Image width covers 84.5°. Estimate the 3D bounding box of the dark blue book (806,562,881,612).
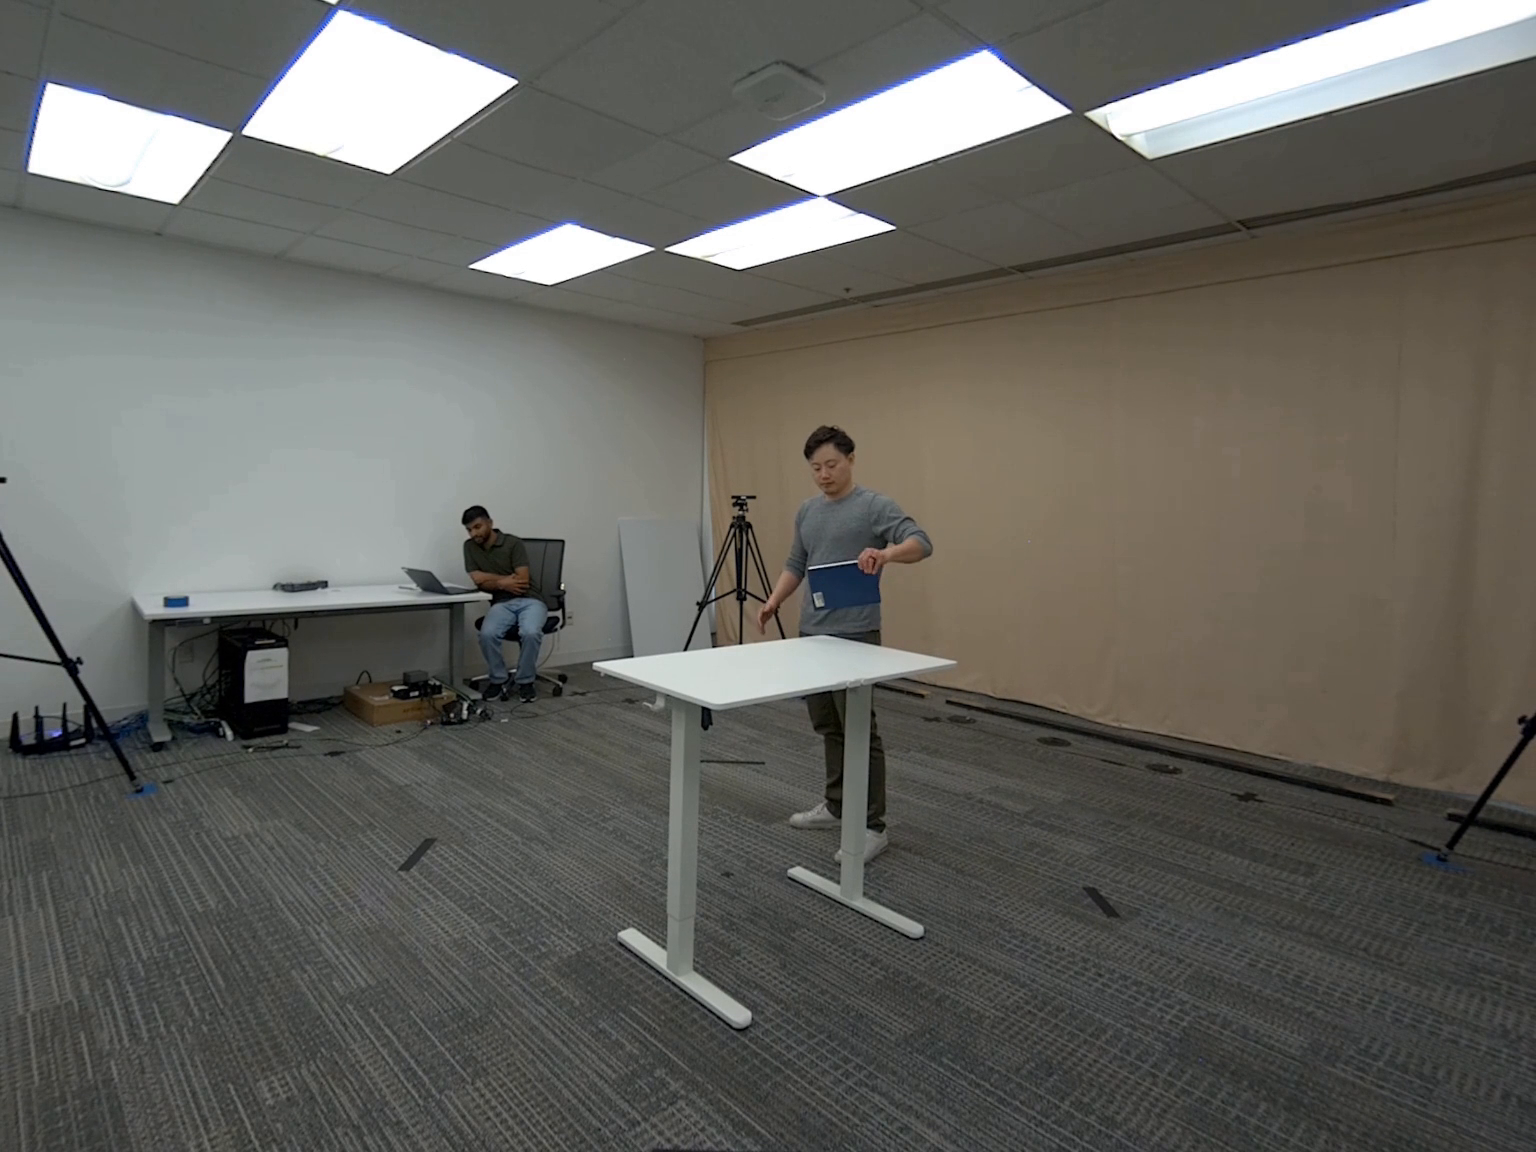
[{"bbox_3d":[0.270,0.036,3.064,0.245,0.162,0.045,-5,6,0],"label":"dark blue book"}]
